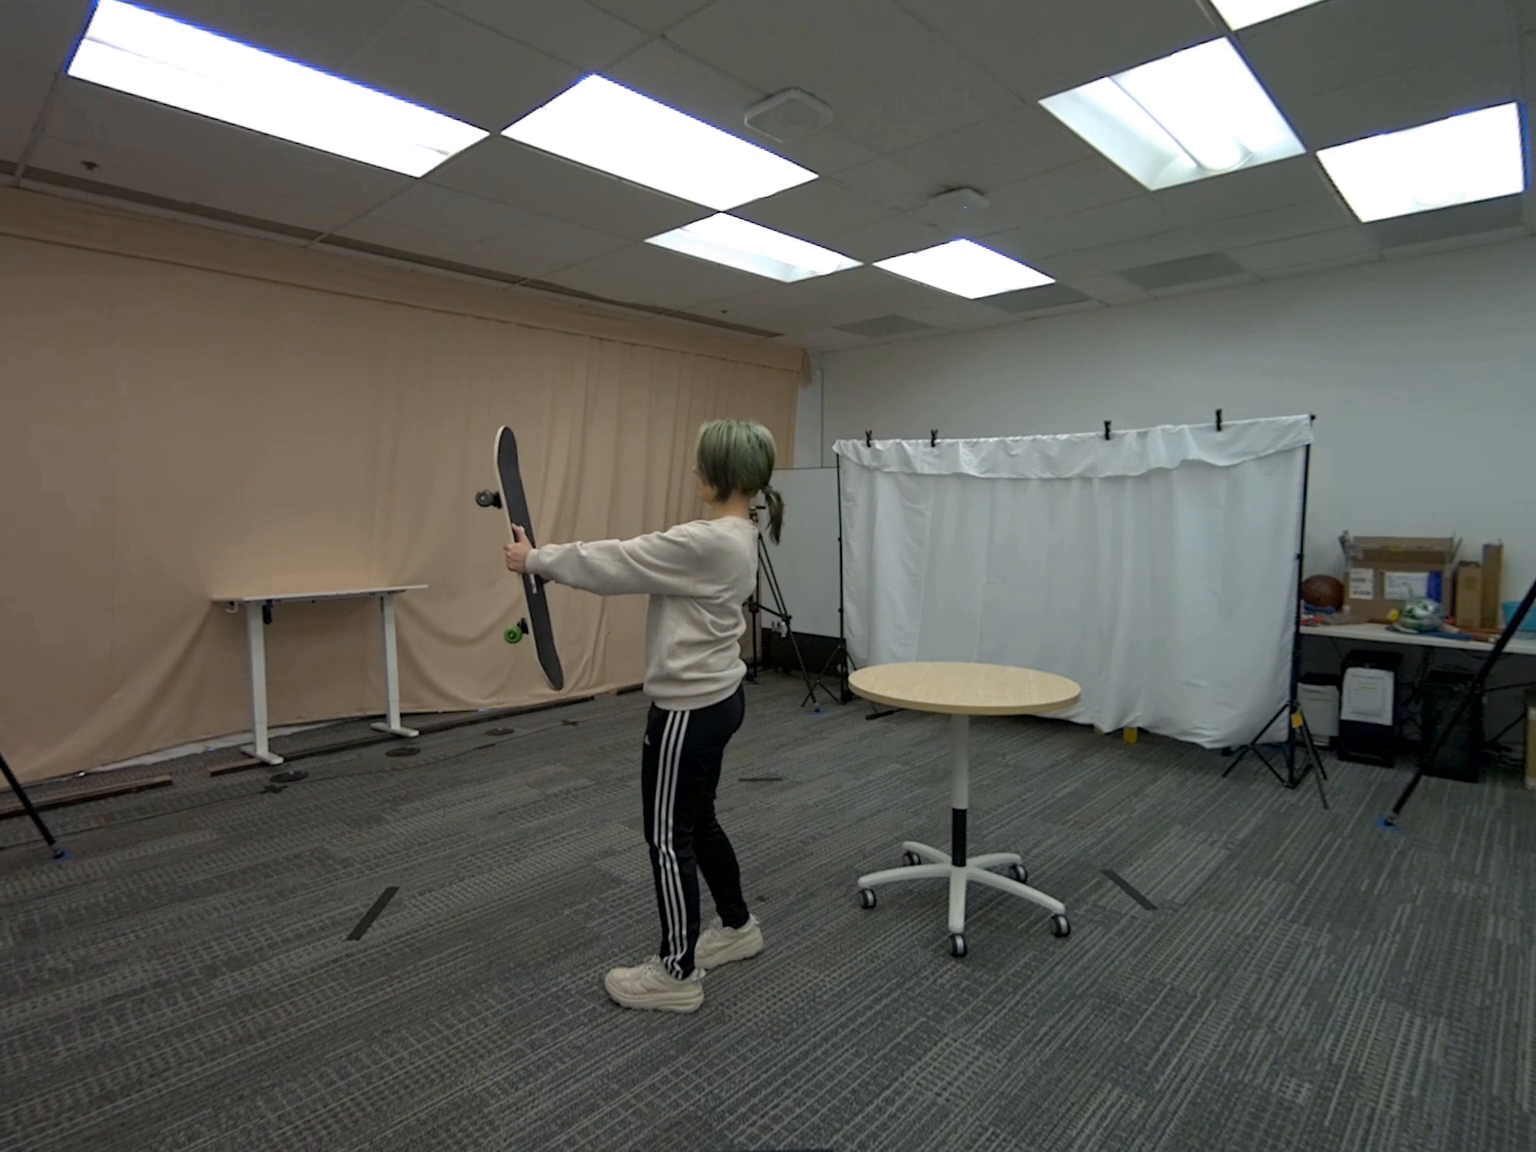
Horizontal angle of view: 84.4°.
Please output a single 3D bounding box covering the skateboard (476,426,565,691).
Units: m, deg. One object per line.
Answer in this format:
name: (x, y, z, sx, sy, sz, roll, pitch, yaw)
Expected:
skateboard: (-0.735, -0.038, 2.465, 0.110, 0.783, 0.193, -11, 3, 1)
